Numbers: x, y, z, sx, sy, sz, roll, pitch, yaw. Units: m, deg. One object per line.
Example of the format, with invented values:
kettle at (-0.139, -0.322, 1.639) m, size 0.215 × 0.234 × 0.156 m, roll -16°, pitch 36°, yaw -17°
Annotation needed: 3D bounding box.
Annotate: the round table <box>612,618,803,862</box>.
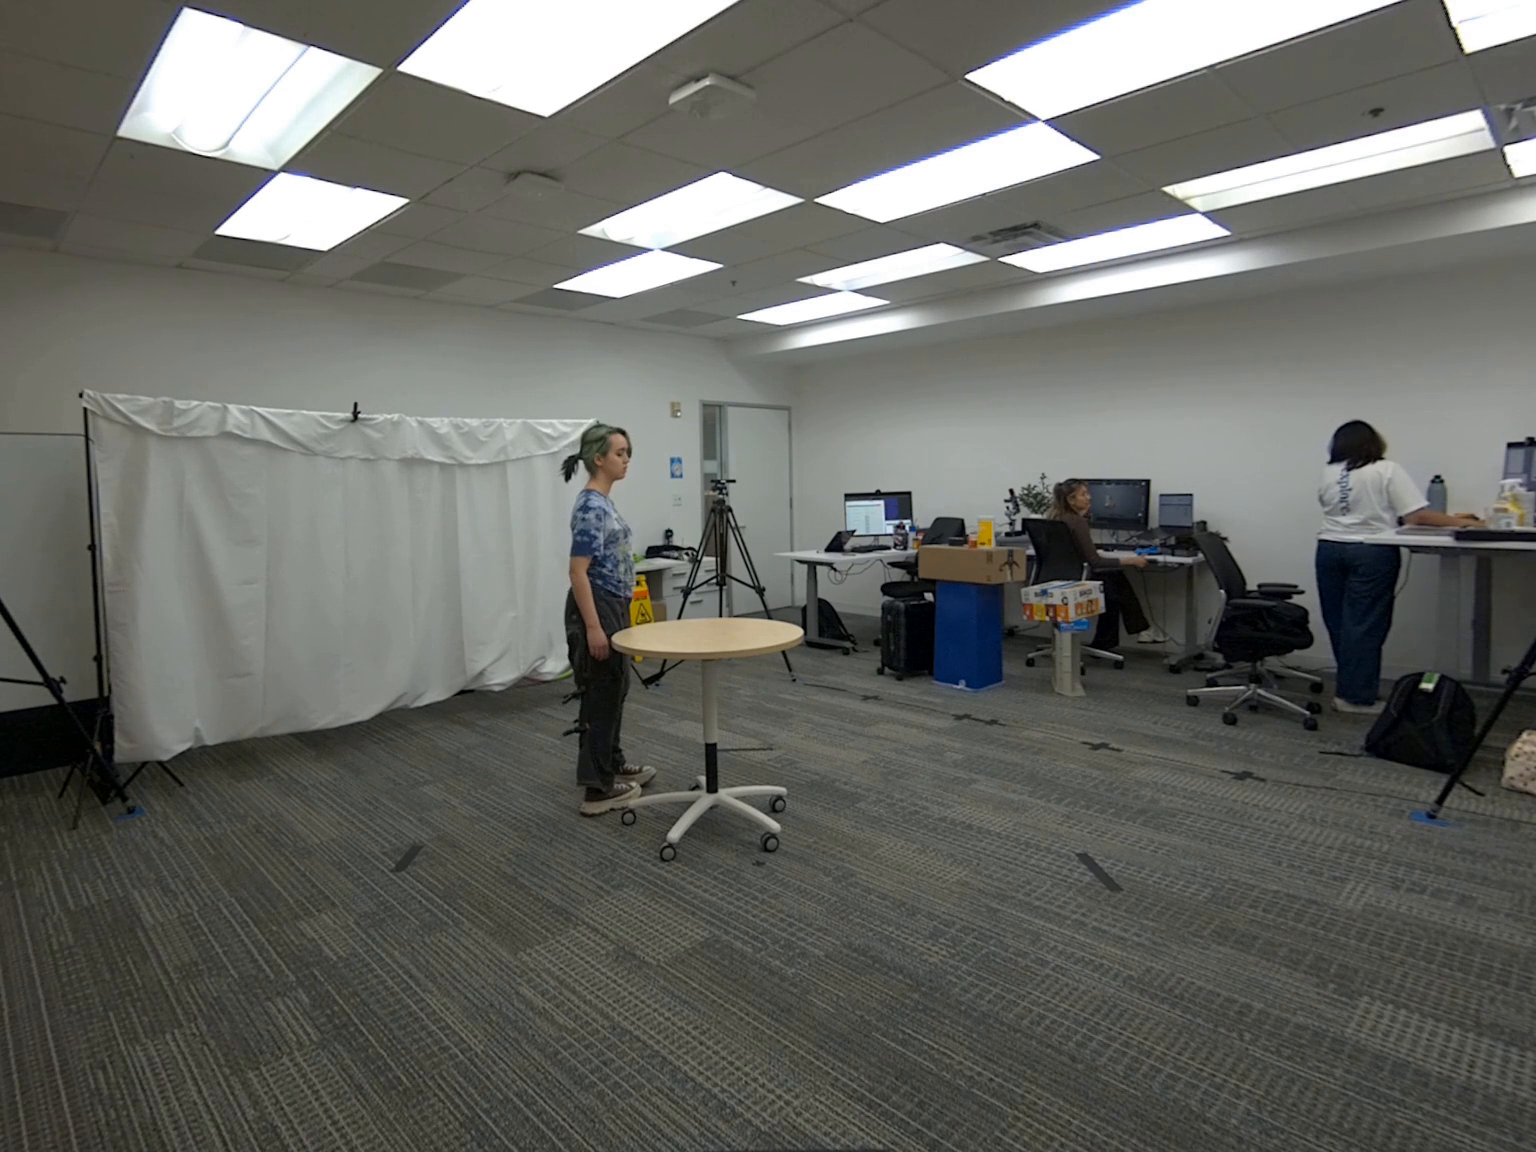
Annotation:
round table at (-0.227, 0.625, 3.430) m, size 0.763 × 0.791 × 0.768 m, roll -2°, pitch 4°, yaw -2°
